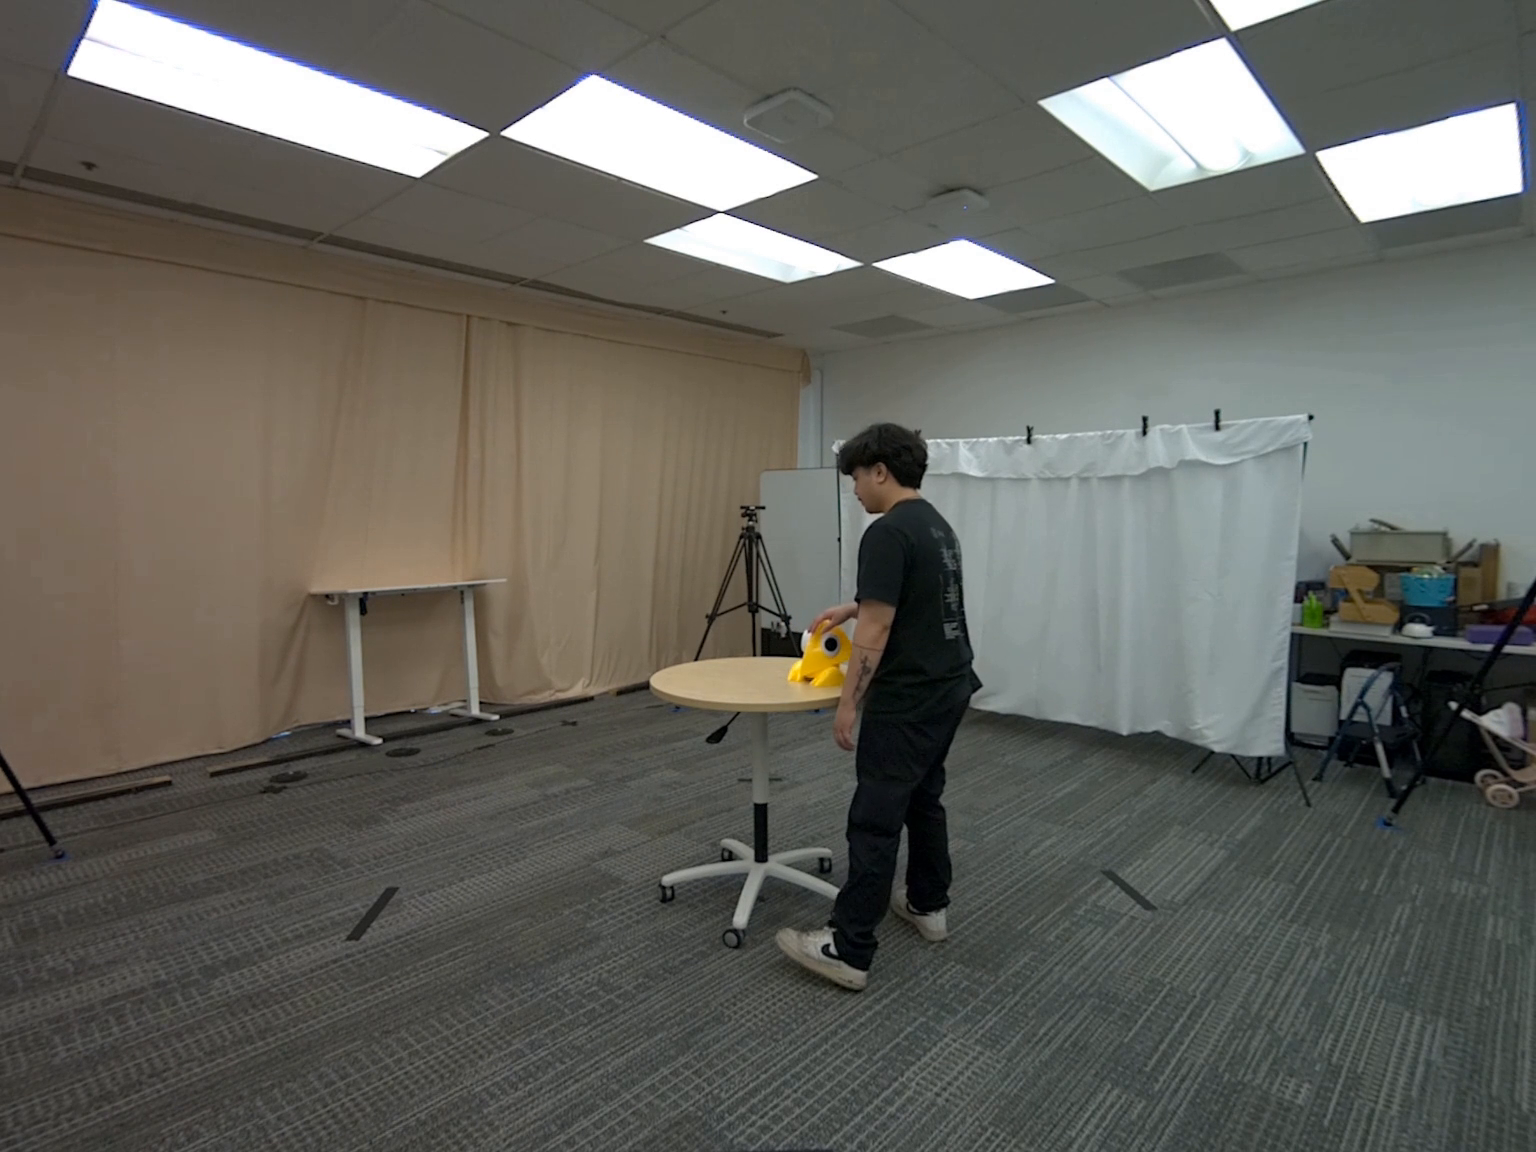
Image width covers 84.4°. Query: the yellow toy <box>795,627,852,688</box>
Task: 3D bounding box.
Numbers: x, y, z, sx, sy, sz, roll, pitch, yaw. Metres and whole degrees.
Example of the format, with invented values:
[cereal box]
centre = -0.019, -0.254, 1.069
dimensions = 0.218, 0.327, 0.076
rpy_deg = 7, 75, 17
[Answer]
[yellow toy]
centre = 0.179, 0.244, 2.881
dimensions = 0.187, 0.230, 0.211
rpy_deg = -5, 6, -40
